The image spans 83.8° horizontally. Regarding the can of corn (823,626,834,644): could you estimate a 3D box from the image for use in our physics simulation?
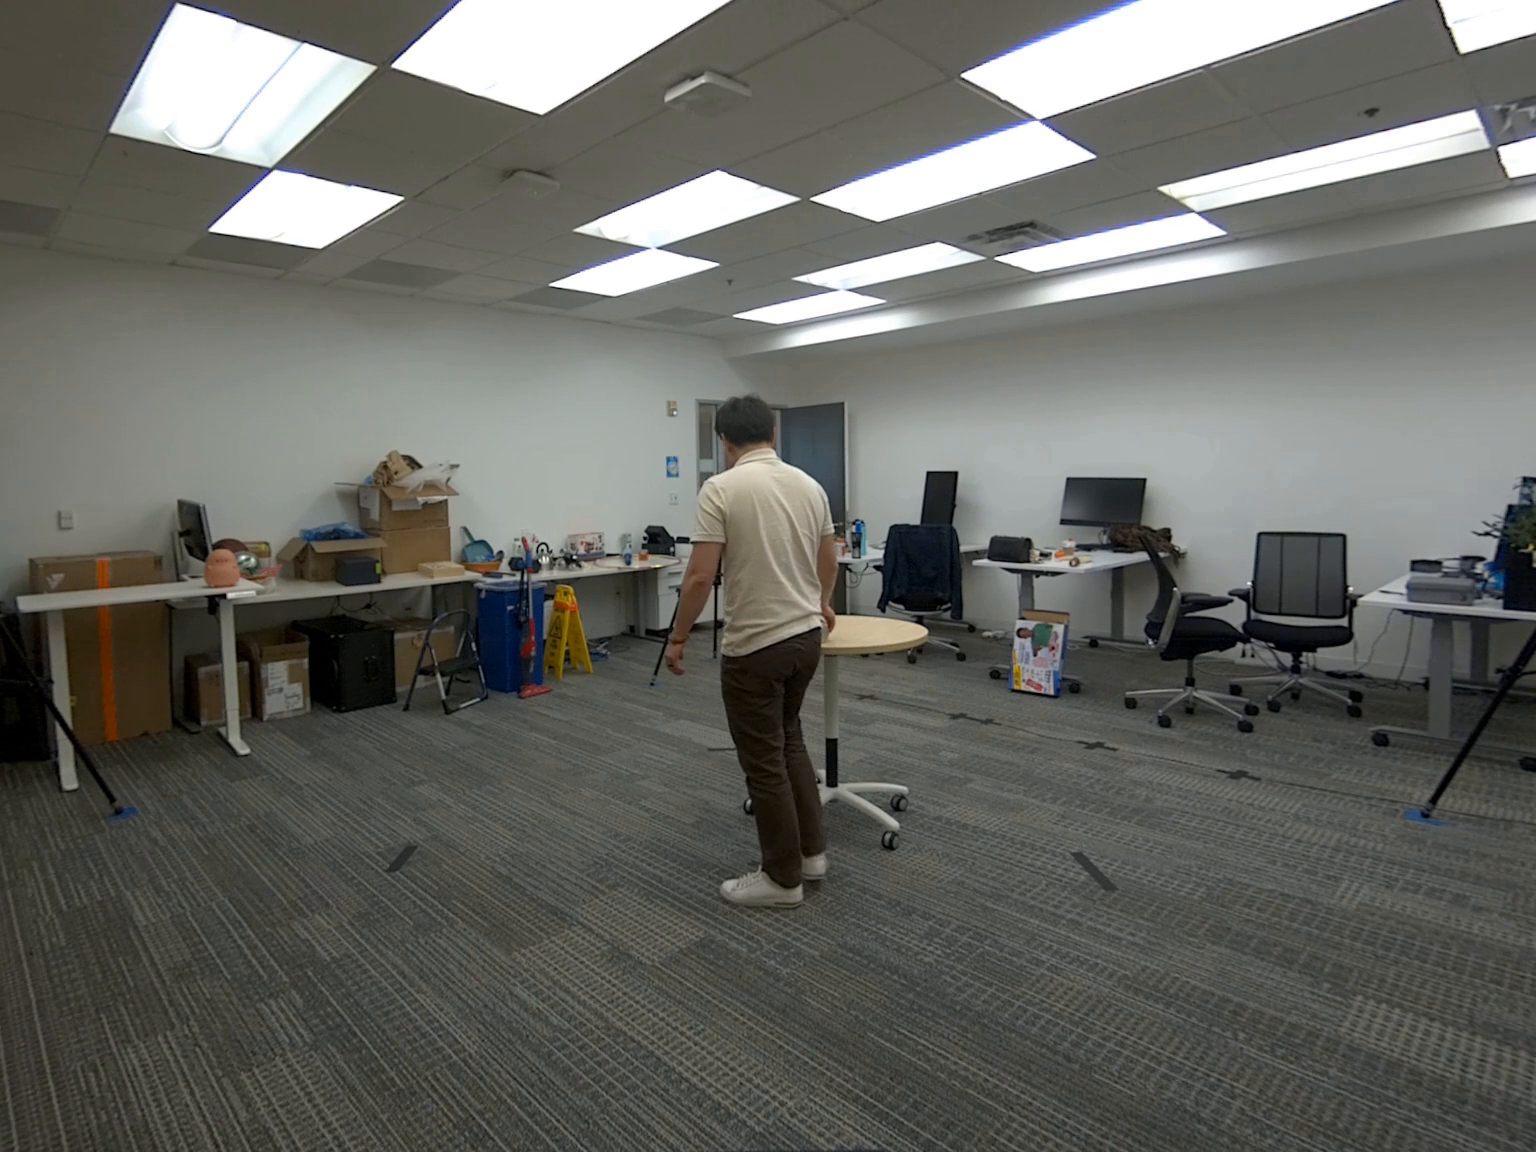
[{"bbox_3d":[0.202,0.204,3.211,0.074,0.074,0.111,-1,6,0],"label":"can of corn"}]
